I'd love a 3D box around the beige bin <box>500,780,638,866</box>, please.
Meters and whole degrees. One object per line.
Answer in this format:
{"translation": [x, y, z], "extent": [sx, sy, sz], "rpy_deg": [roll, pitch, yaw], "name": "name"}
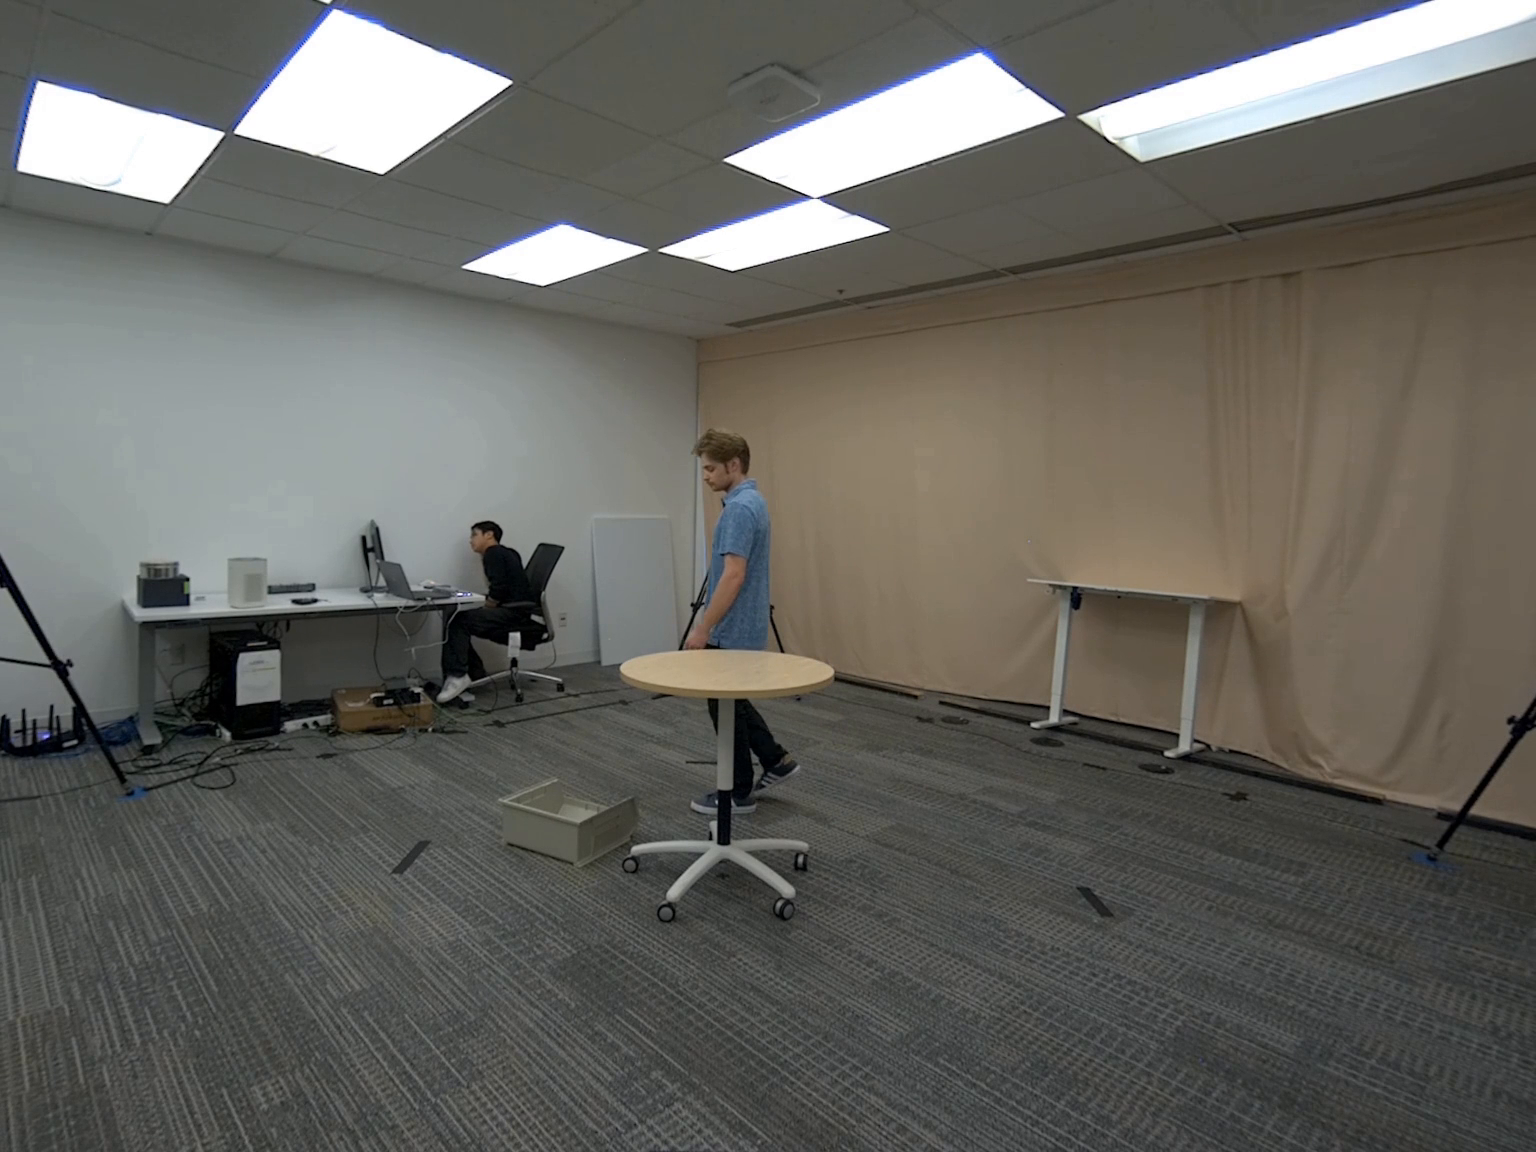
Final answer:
{"translation": [-0.806, 0.977, 3.392], "extent": [0.431, 0.188, 0.370], "rpy_deg": [5, 7, 29], "name": "beige bin"}
